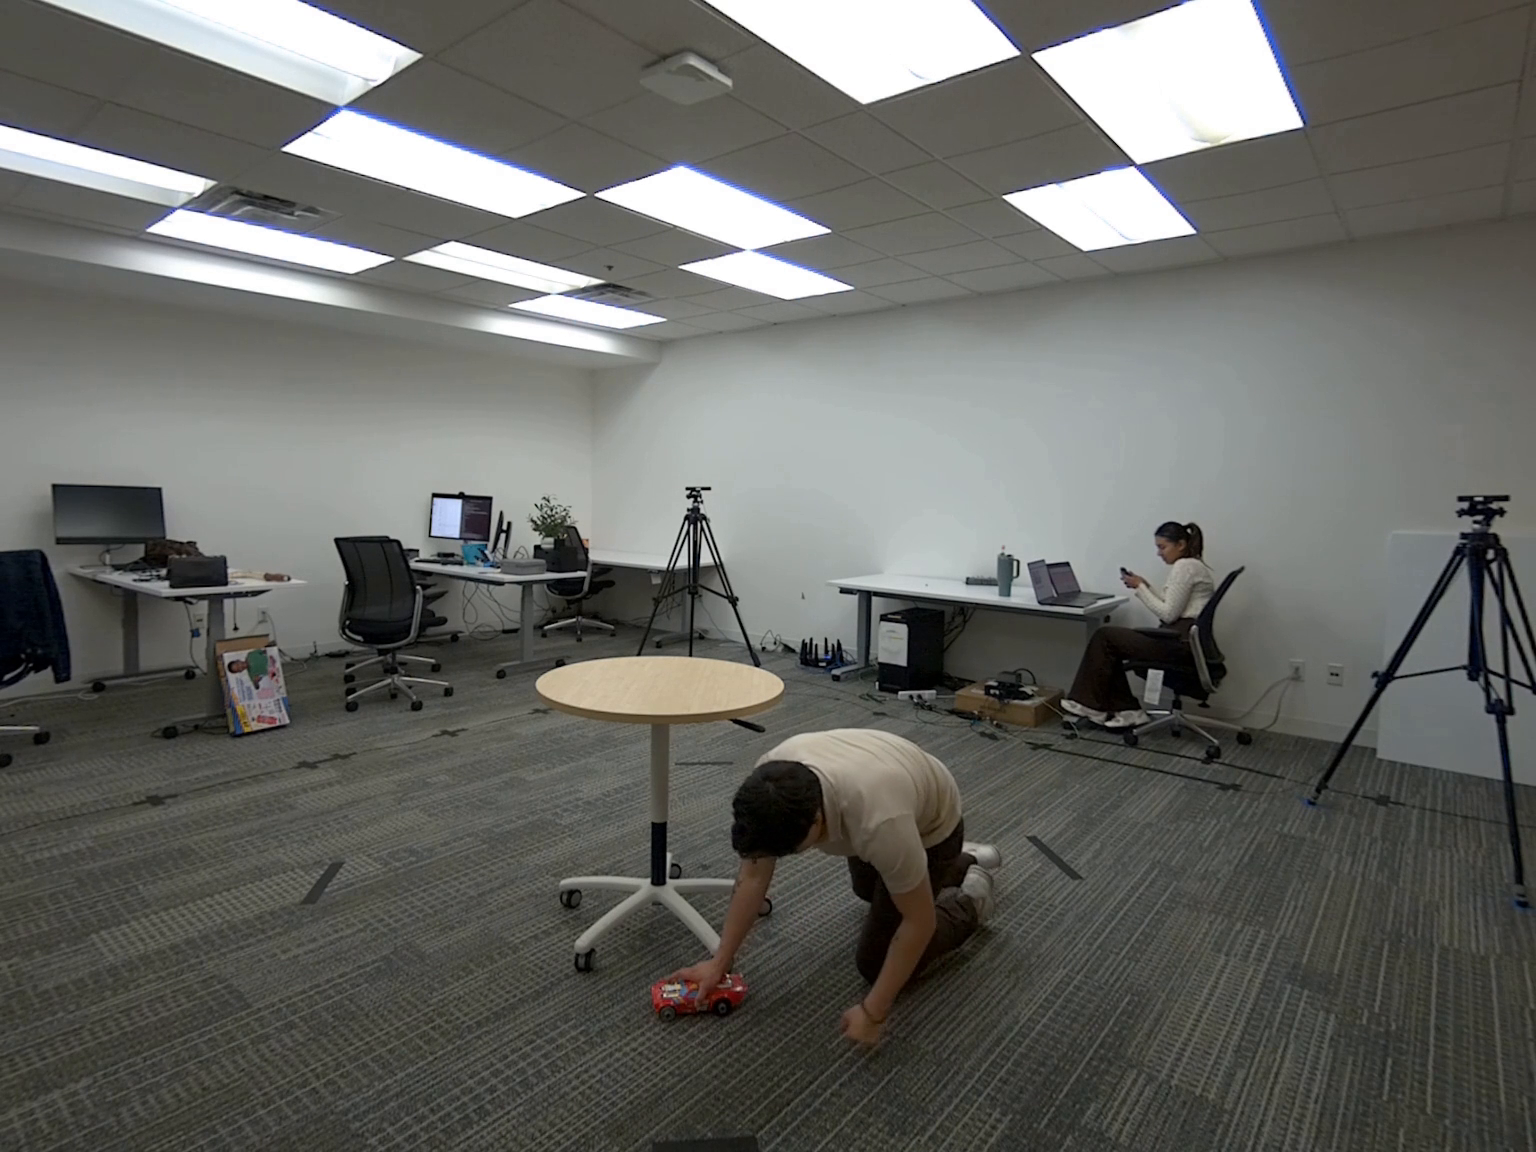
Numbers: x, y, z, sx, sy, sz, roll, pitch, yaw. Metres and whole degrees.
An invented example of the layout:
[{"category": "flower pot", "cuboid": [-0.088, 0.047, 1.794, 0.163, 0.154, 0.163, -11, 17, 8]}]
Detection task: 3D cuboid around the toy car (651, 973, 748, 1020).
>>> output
[{"category": "toy car", "cuboid": [-0.183, 1.119, 2.289, 0.253, 0.083, 0.132, -13, 6, -8]}]
